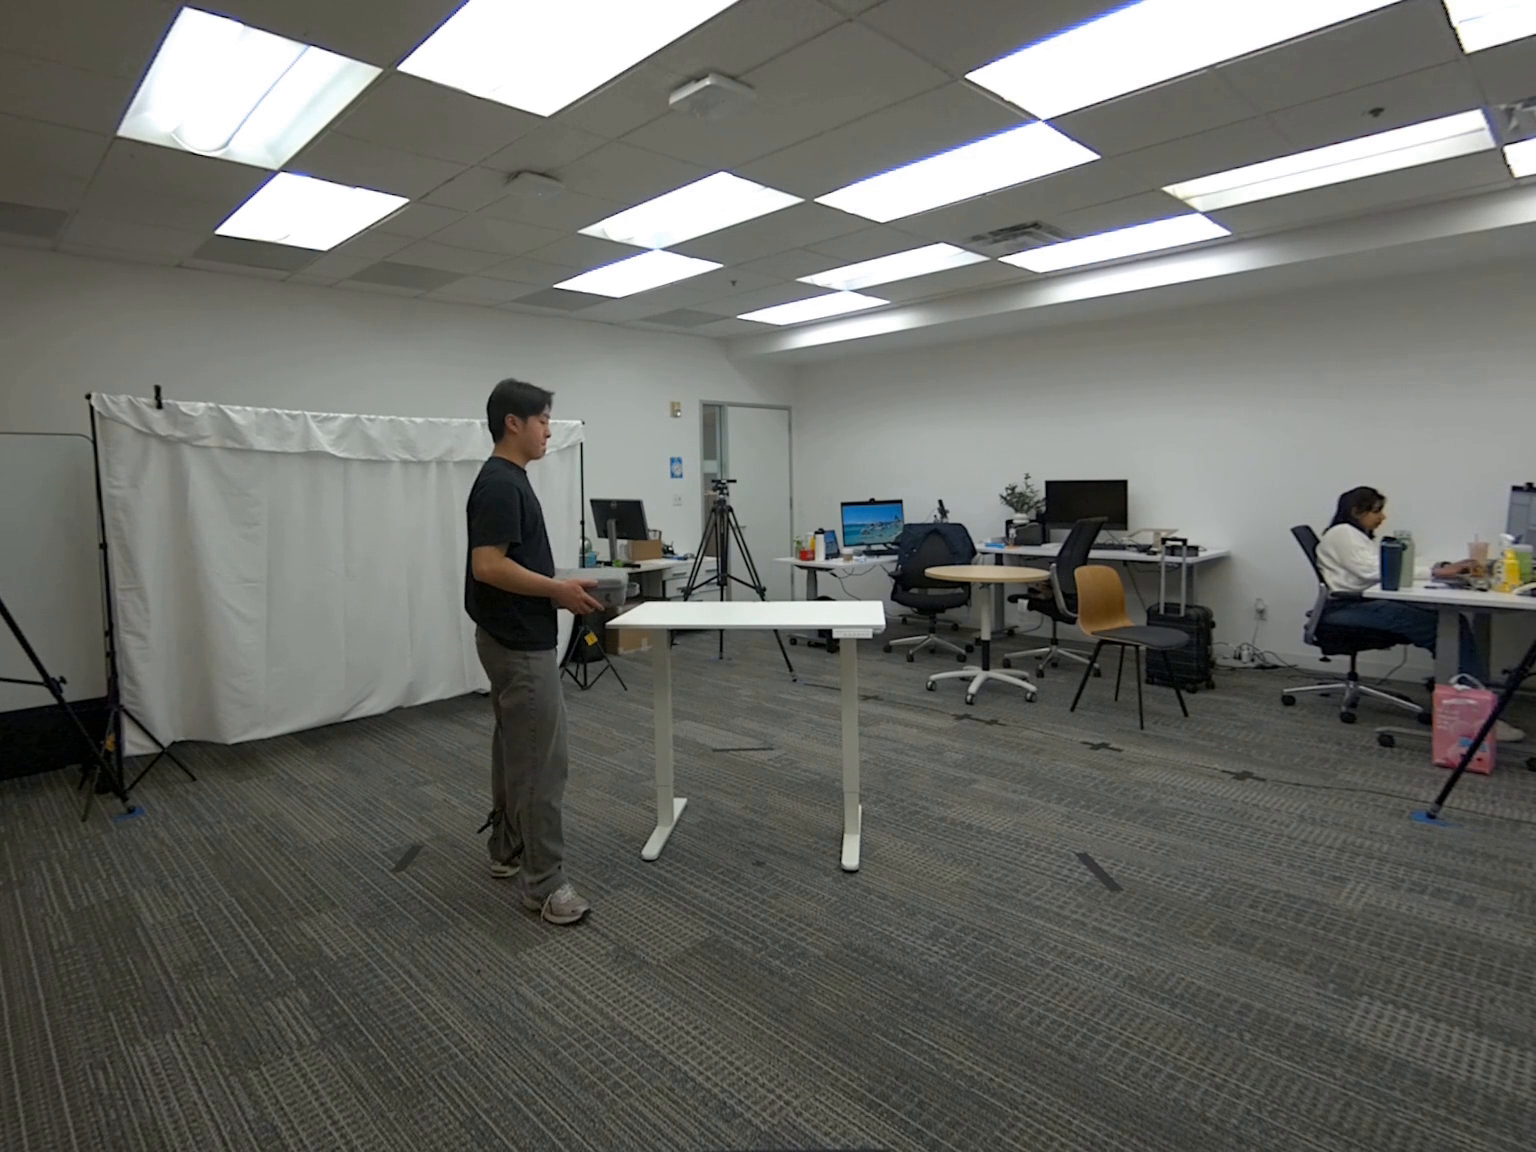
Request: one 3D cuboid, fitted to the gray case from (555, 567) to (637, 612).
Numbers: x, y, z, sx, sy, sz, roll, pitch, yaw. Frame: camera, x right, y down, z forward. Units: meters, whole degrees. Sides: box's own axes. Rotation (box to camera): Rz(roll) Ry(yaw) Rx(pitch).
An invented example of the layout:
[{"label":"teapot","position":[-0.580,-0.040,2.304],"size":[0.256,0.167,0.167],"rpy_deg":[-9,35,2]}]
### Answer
[{"label":"gray case","position":[-0.603,0.041,2.933],"size":[0.286,0.102,0.266],"rpy_deg":[-2,8,-5]}]
